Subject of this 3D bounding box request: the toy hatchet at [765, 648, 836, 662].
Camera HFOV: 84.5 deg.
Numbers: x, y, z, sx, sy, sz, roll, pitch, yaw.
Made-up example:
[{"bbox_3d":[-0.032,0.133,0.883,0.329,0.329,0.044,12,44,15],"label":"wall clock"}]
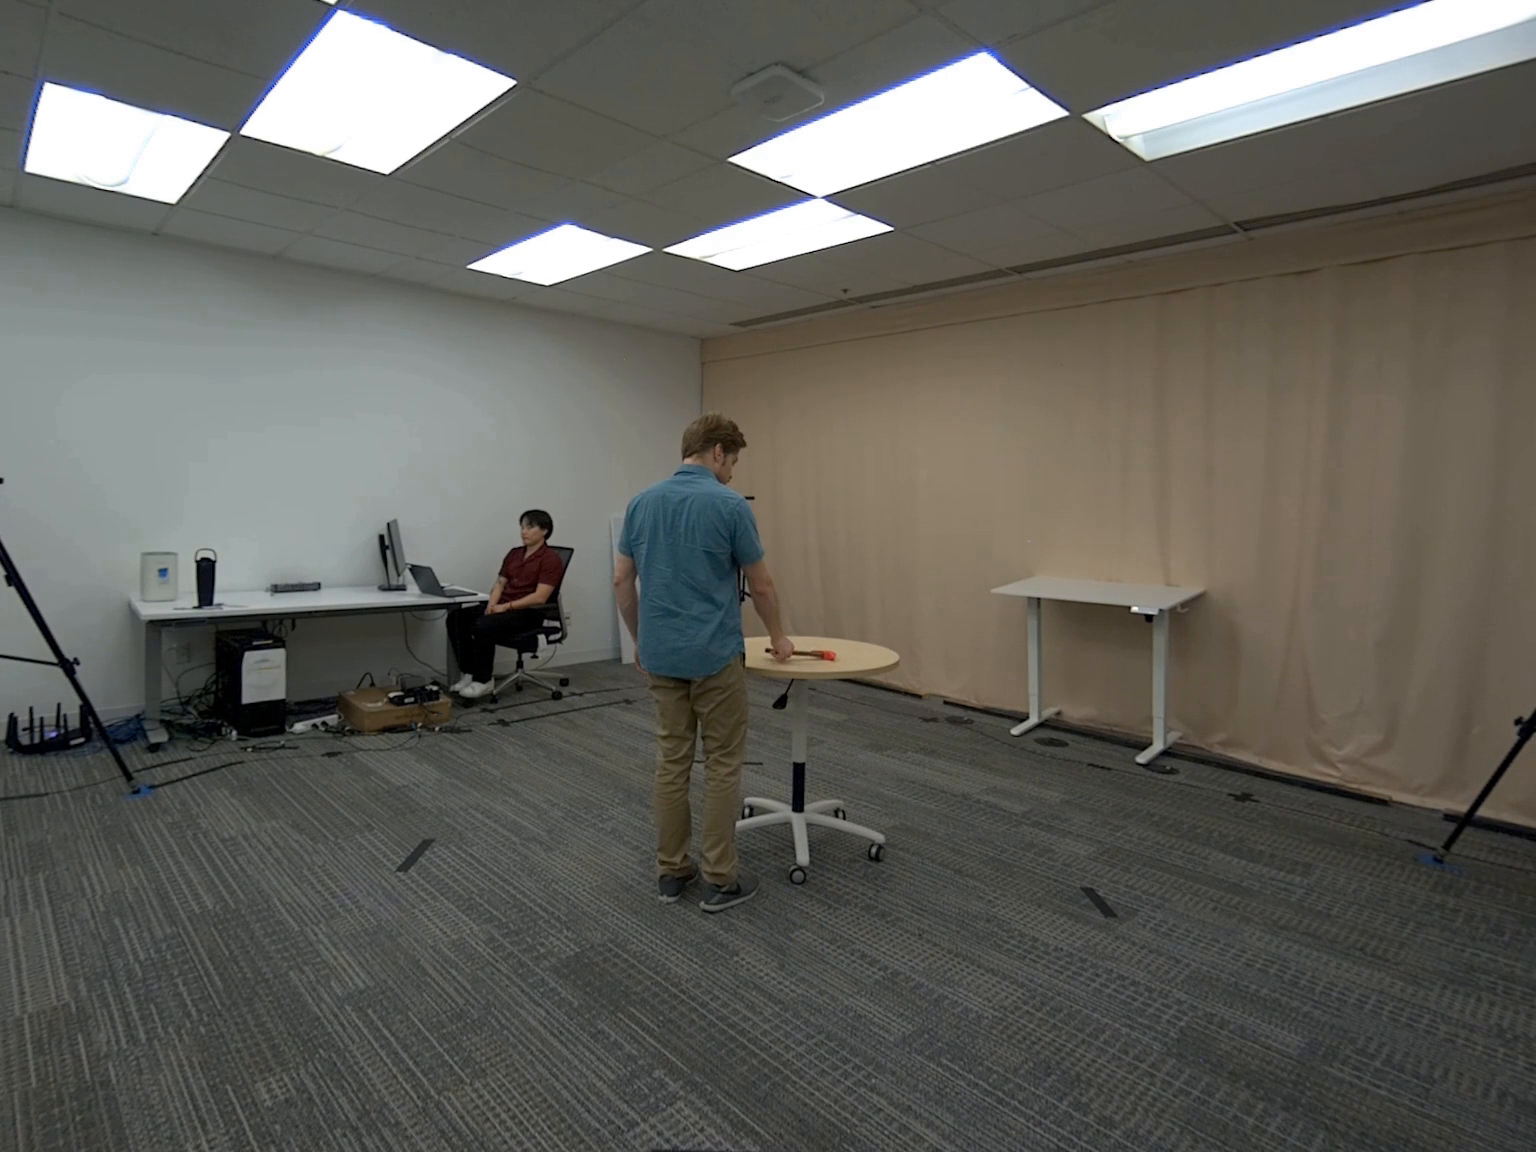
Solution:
[{"bbox_3d":[0.123,0.294,3.230,0.271,0.029,0.131,4,5,3],"label":"toy hatchet"}]
